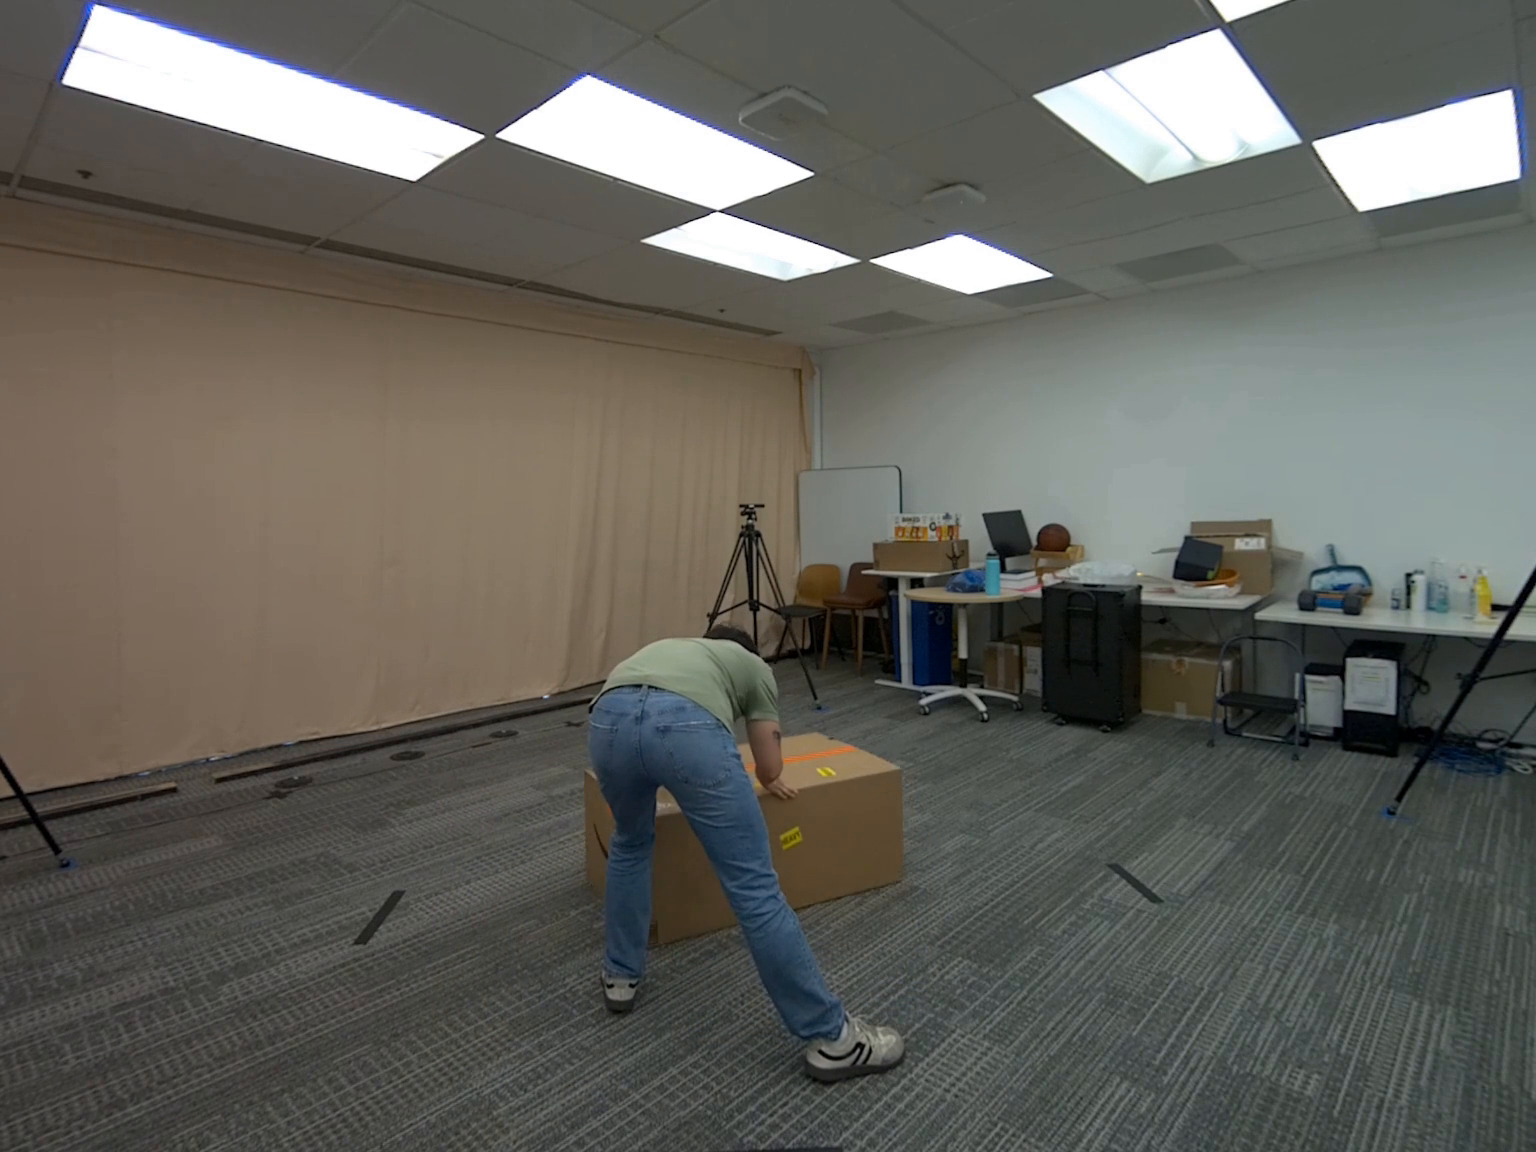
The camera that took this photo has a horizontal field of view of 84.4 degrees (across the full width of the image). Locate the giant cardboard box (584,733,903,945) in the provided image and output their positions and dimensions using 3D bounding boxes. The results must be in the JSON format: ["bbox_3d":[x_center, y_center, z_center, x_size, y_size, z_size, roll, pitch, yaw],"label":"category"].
[{"bbox_3d":[-0.095,0.920,3.105,1.000,0.425,0.594,-4,5,-27],"label":"giant cardboard box"}]
